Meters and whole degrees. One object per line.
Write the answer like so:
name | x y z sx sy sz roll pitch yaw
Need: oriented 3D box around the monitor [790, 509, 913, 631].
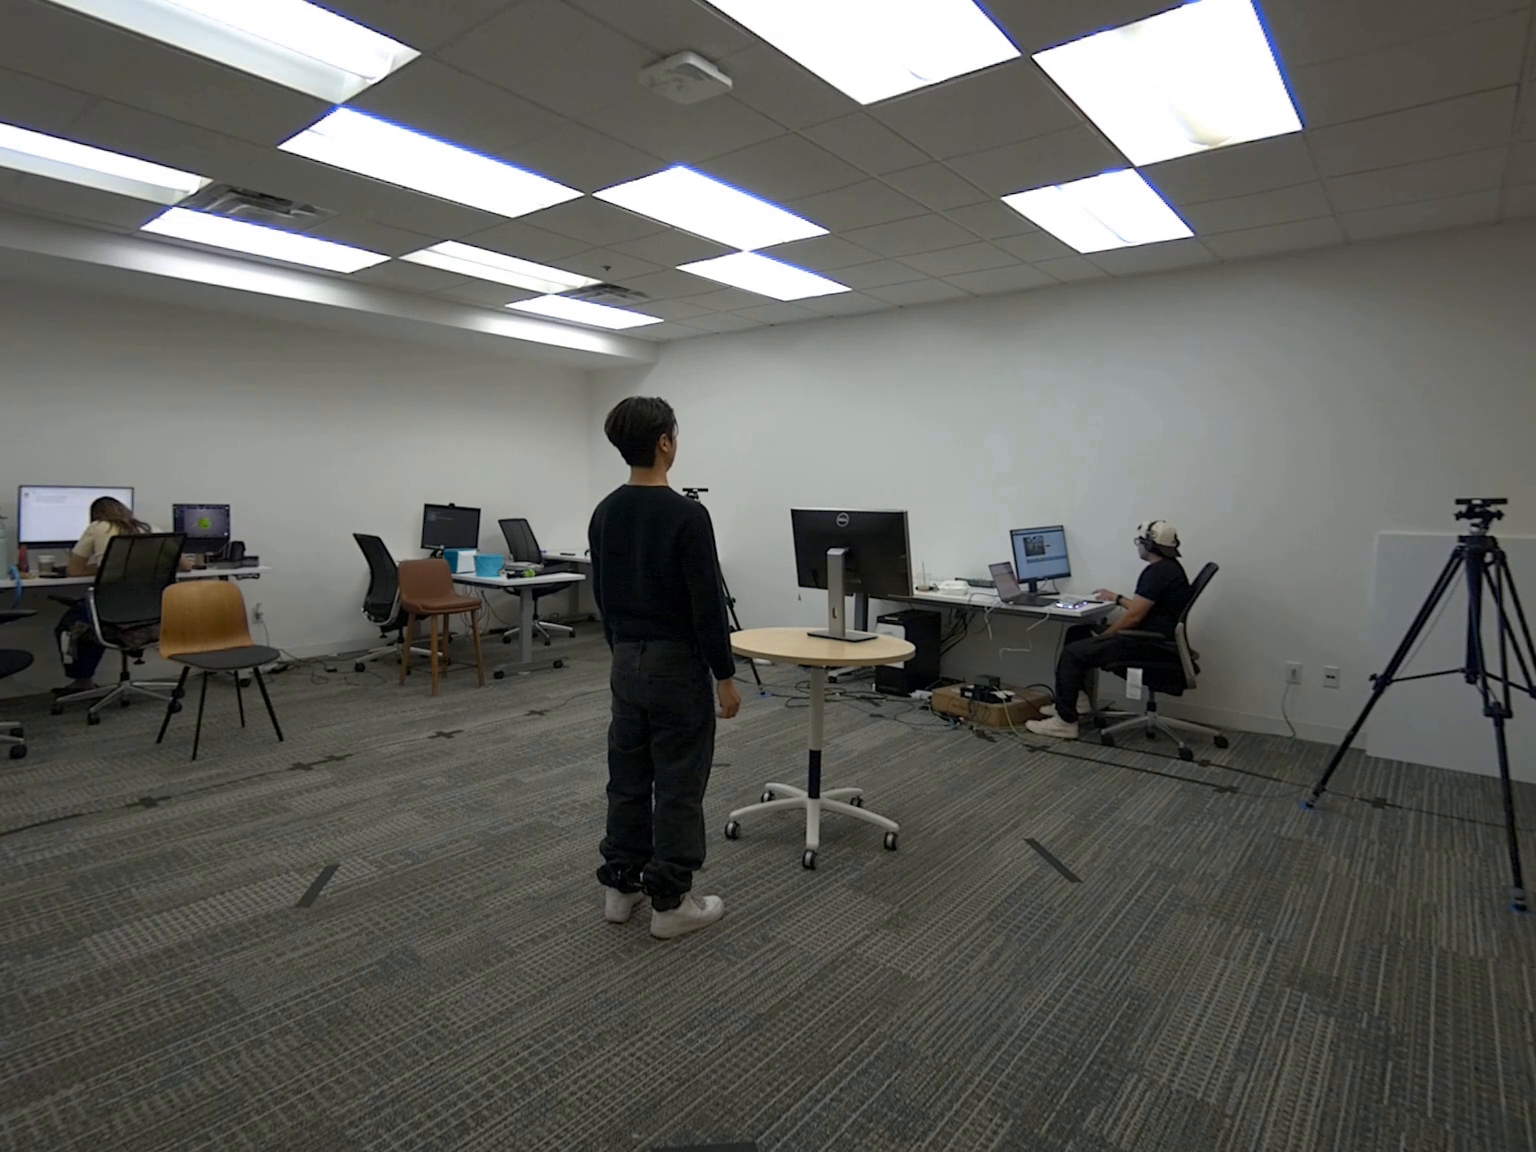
monitor | 0.321 -0.016 3.600 0.547 0.517 0.169 2 -2 37
